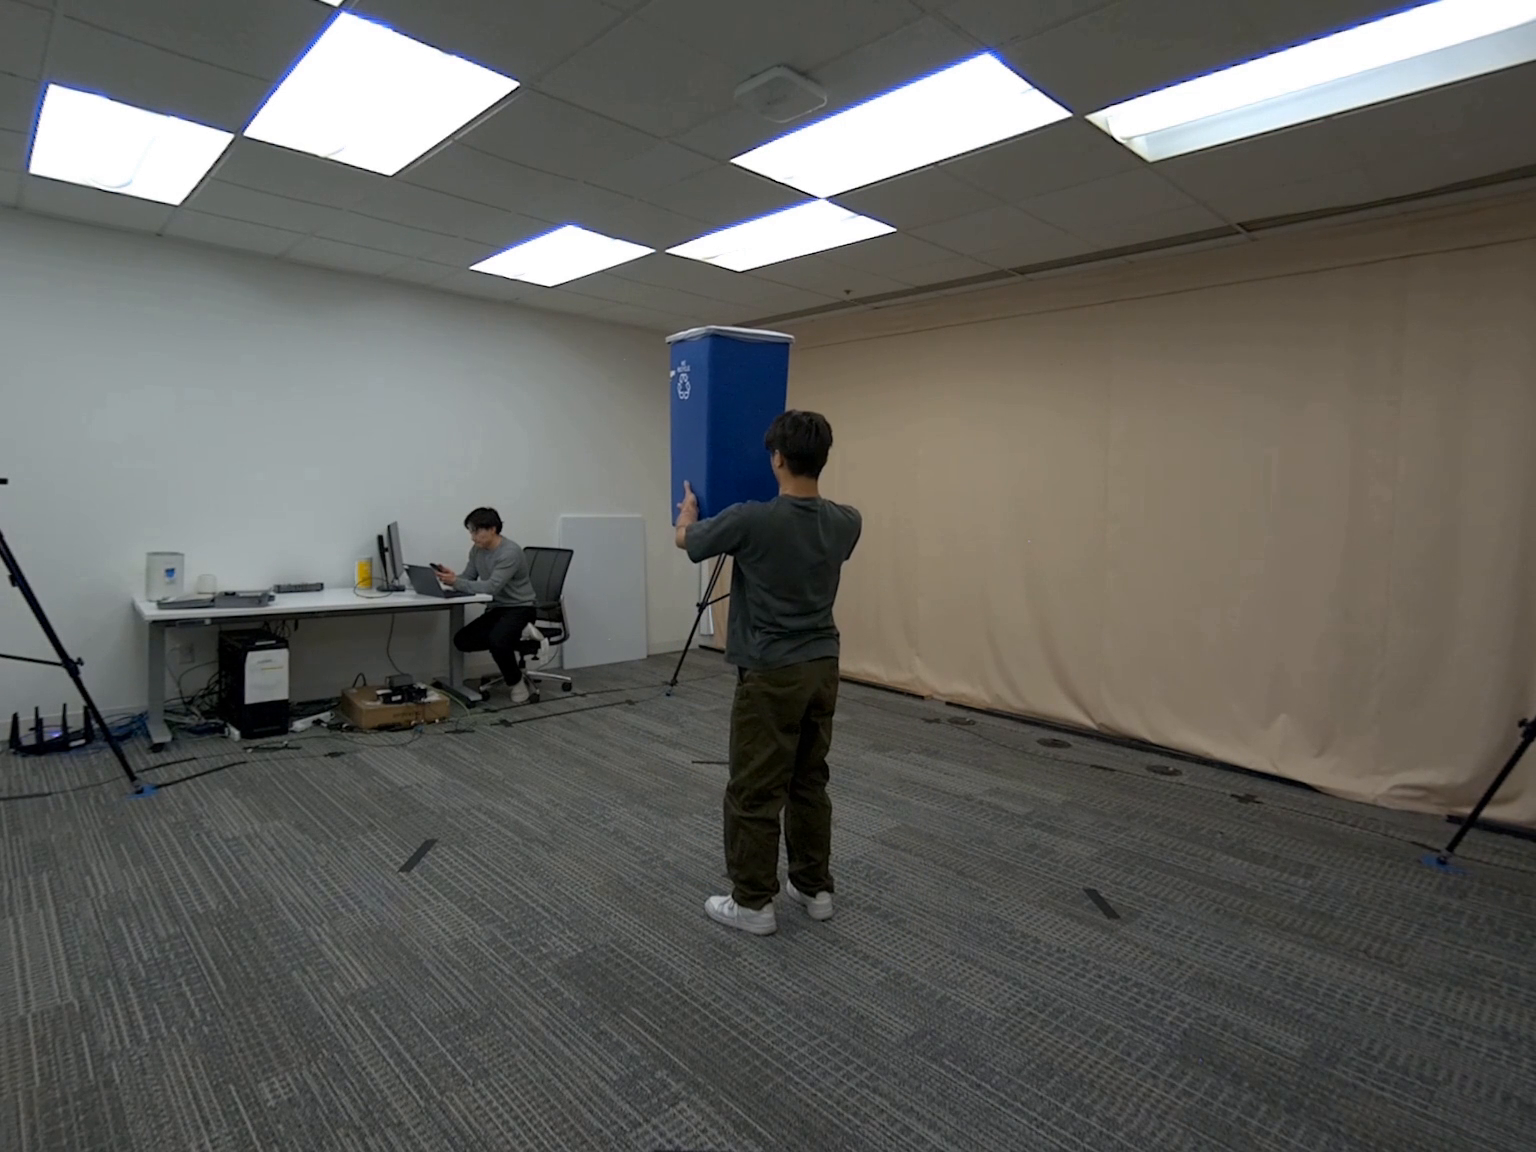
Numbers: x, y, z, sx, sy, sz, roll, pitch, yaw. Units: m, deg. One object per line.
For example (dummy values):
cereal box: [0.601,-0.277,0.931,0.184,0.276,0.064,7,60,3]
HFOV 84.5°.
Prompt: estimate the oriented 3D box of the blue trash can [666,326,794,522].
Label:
blue trash can: [-0.167,-0.532,3.141,0.366,0.711,0.387,-1,7,-32]
